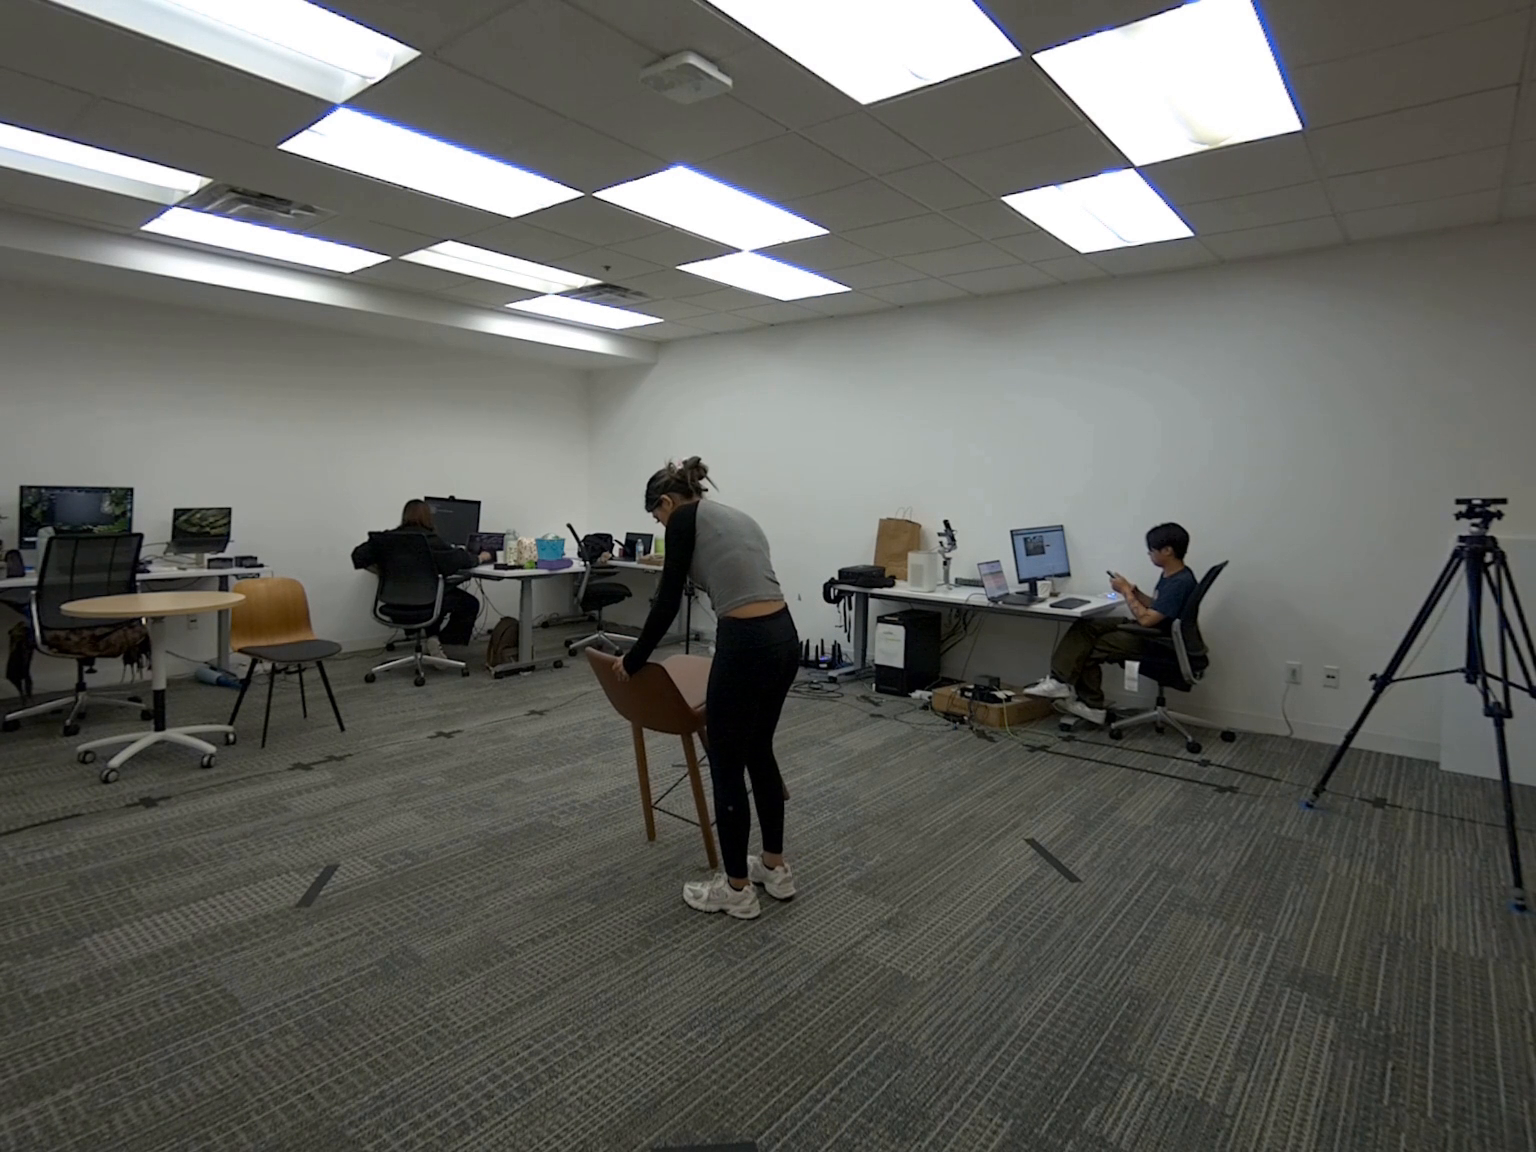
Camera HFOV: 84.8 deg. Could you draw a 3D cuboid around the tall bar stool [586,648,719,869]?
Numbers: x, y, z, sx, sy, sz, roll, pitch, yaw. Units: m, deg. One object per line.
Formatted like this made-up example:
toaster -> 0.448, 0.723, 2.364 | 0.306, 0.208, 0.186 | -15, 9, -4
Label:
tall bar stool -> -0.320, 0.575, 3.248 | 0.472, 0.870, 0.462 | 4, 27, 43
